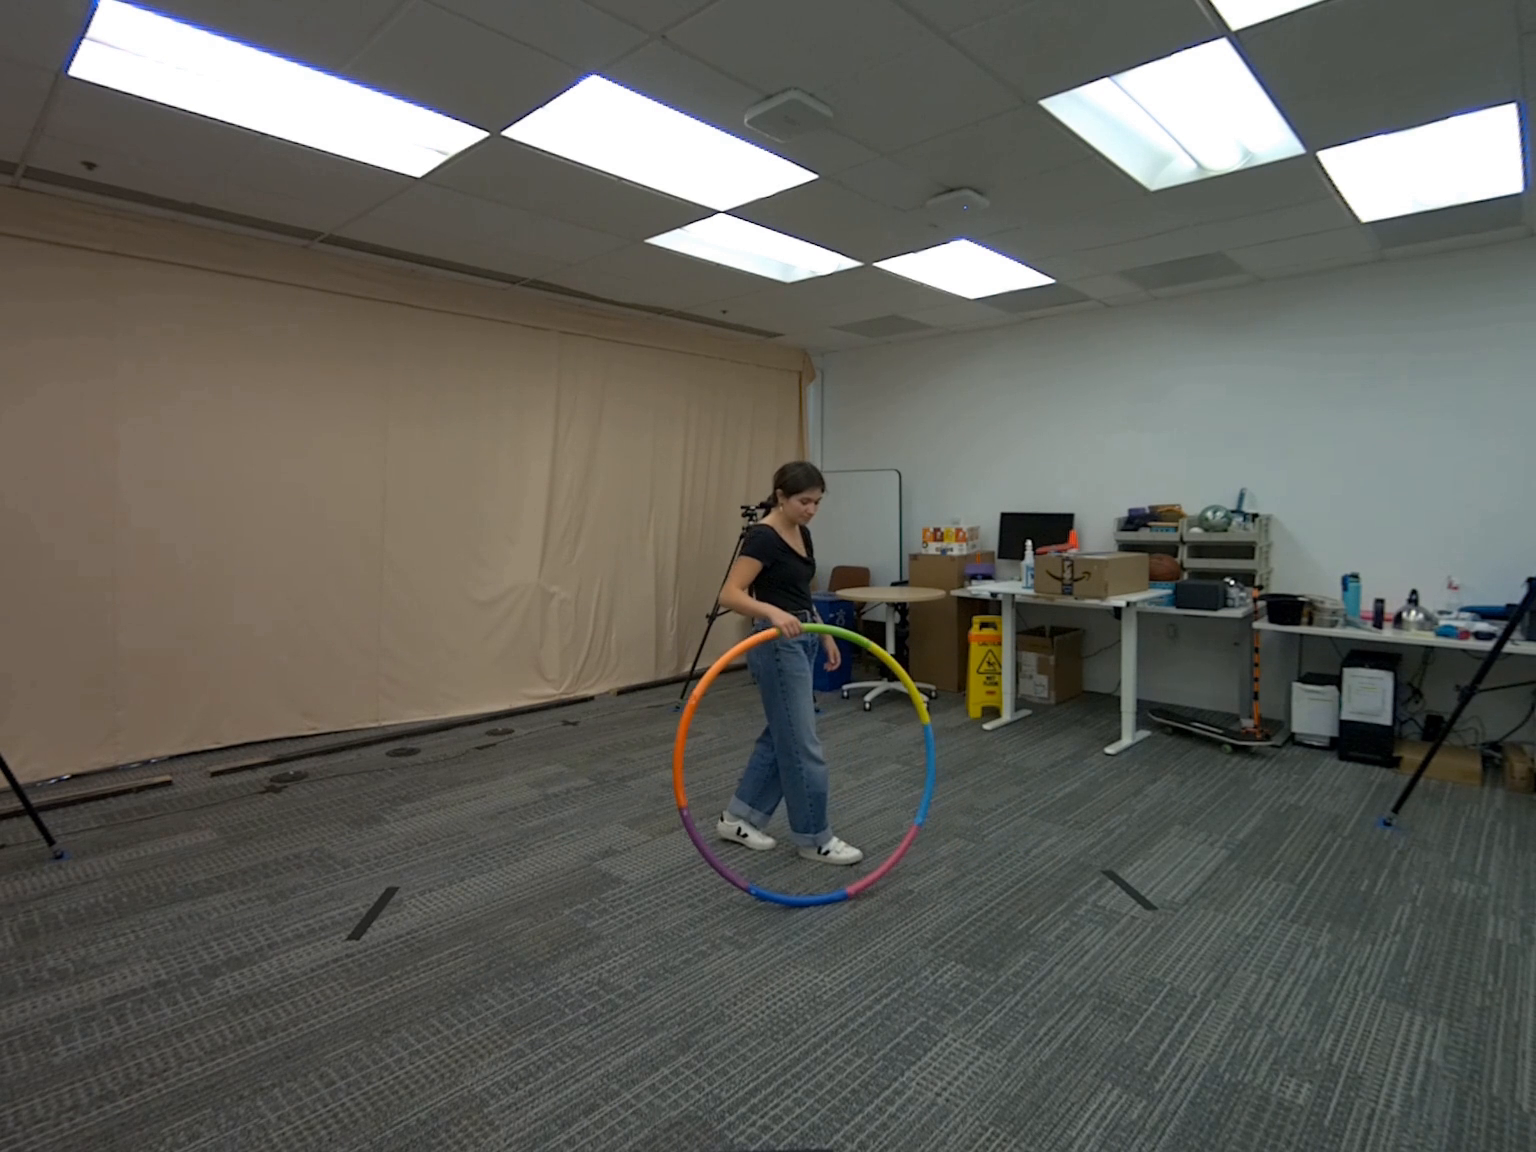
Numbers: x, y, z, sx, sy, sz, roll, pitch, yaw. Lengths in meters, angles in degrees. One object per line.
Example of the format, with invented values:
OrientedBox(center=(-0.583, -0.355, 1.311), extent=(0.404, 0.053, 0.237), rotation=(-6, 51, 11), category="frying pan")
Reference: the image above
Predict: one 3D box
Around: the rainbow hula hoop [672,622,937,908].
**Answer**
OrientedBox(center=(0.160, 0.659, 2.992), extent=(0.962, 0.982, 0.036), rotation=(-1, -6, -16), category="rainbow hula hoop")
